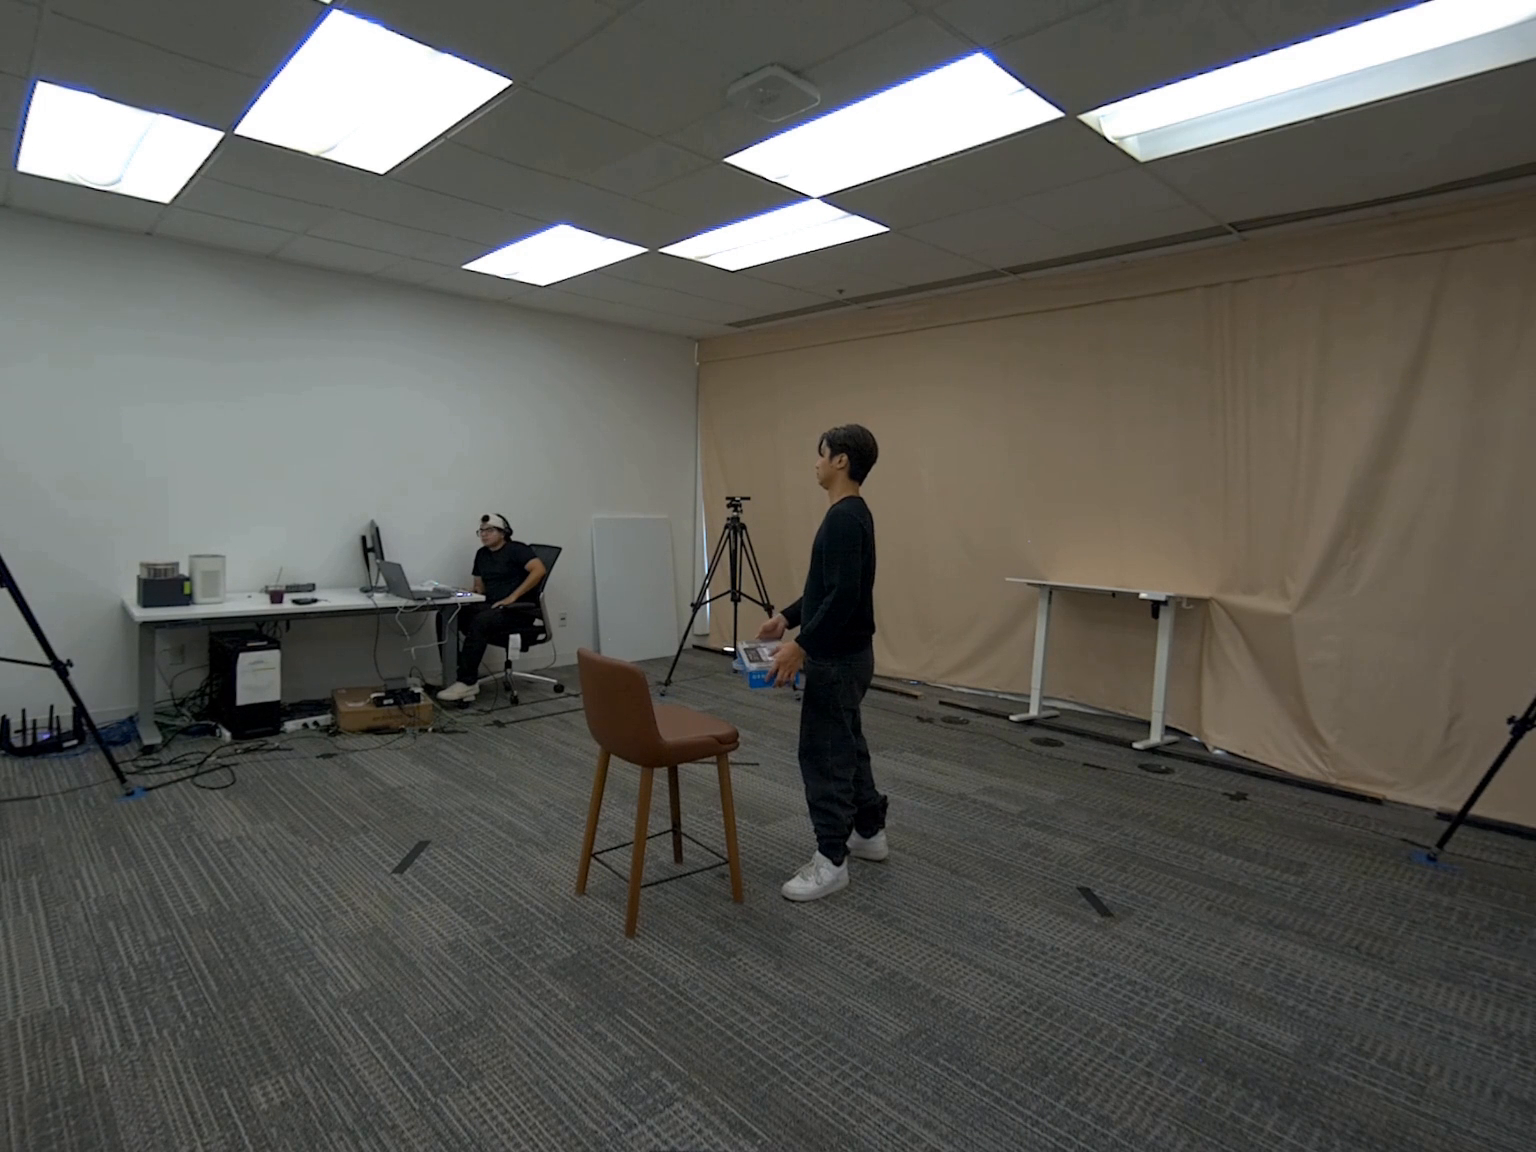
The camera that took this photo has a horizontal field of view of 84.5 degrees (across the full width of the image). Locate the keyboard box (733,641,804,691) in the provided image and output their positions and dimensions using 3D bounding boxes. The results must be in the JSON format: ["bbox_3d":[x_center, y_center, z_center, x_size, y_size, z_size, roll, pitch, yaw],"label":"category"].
[{"bbox_3d":[-0.010,0.310,3.053,0.175,0.059,0.442,-5,9,-8],"label":"keyboard box"}]
